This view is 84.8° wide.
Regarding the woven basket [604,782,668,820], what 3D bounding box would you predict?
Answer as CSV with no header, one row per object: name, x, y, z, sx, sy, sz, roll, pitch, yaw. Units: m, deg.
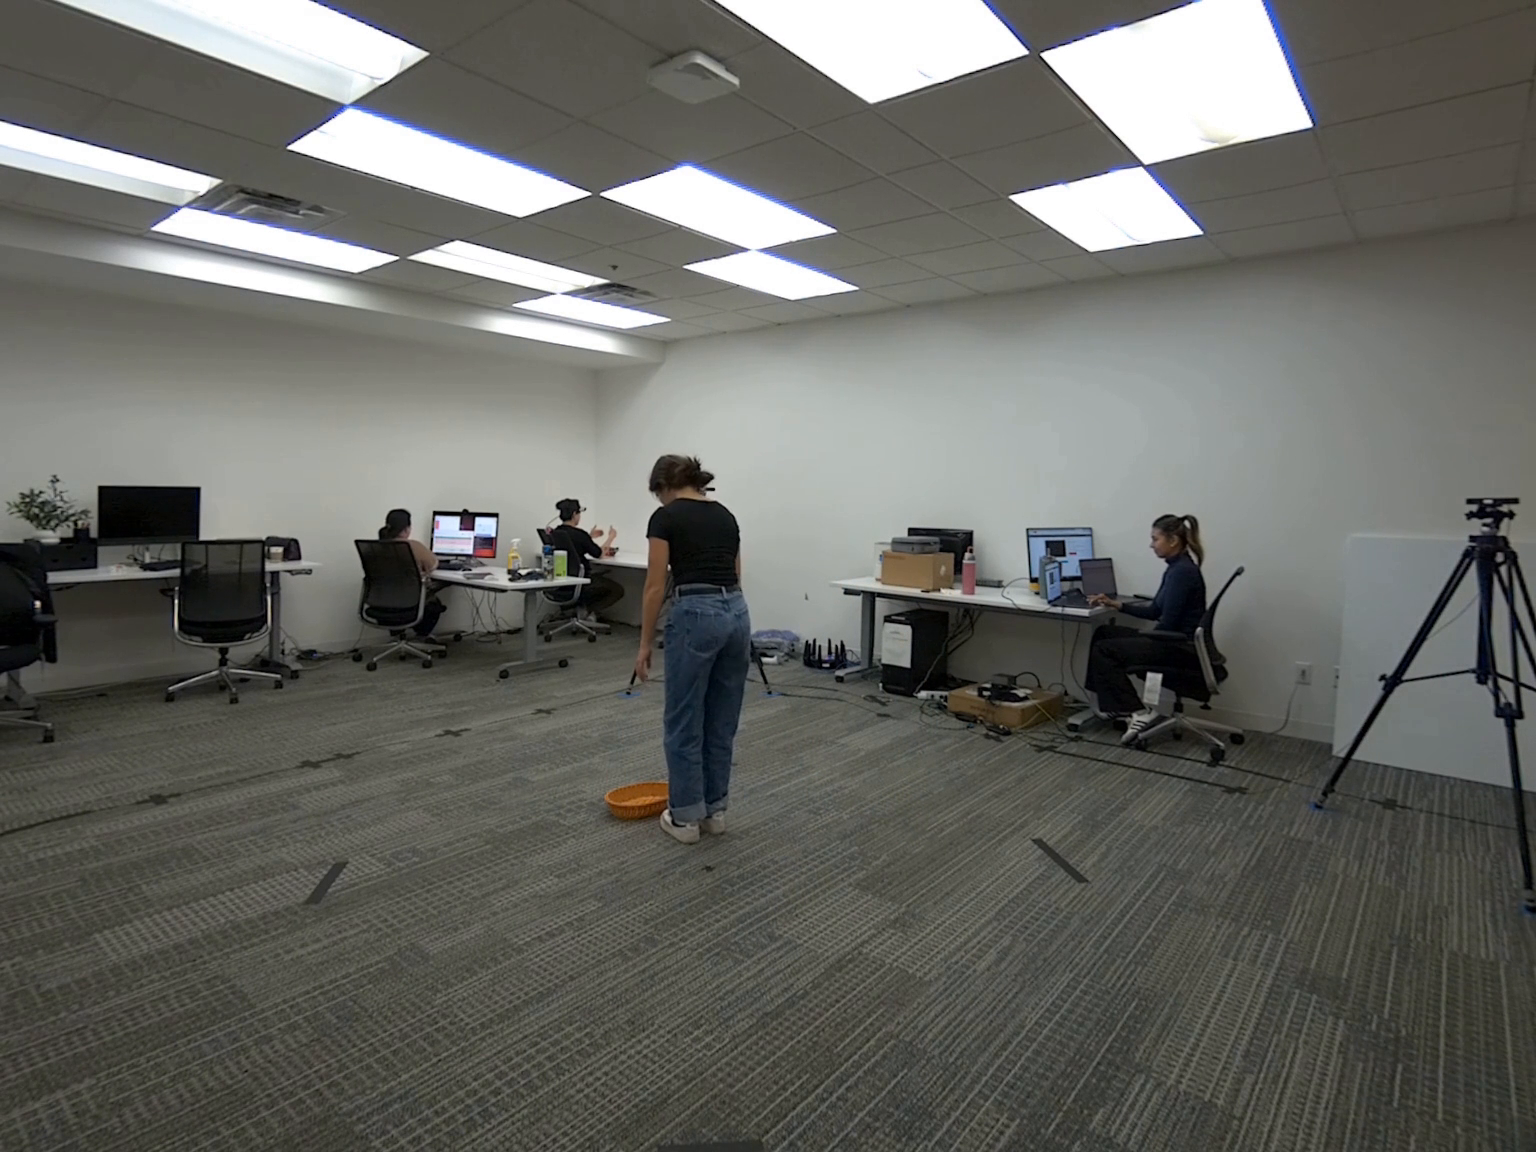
woven basket,-0.553,0.966,3.678,0.340,0.073,0.261,-5,7,-40
